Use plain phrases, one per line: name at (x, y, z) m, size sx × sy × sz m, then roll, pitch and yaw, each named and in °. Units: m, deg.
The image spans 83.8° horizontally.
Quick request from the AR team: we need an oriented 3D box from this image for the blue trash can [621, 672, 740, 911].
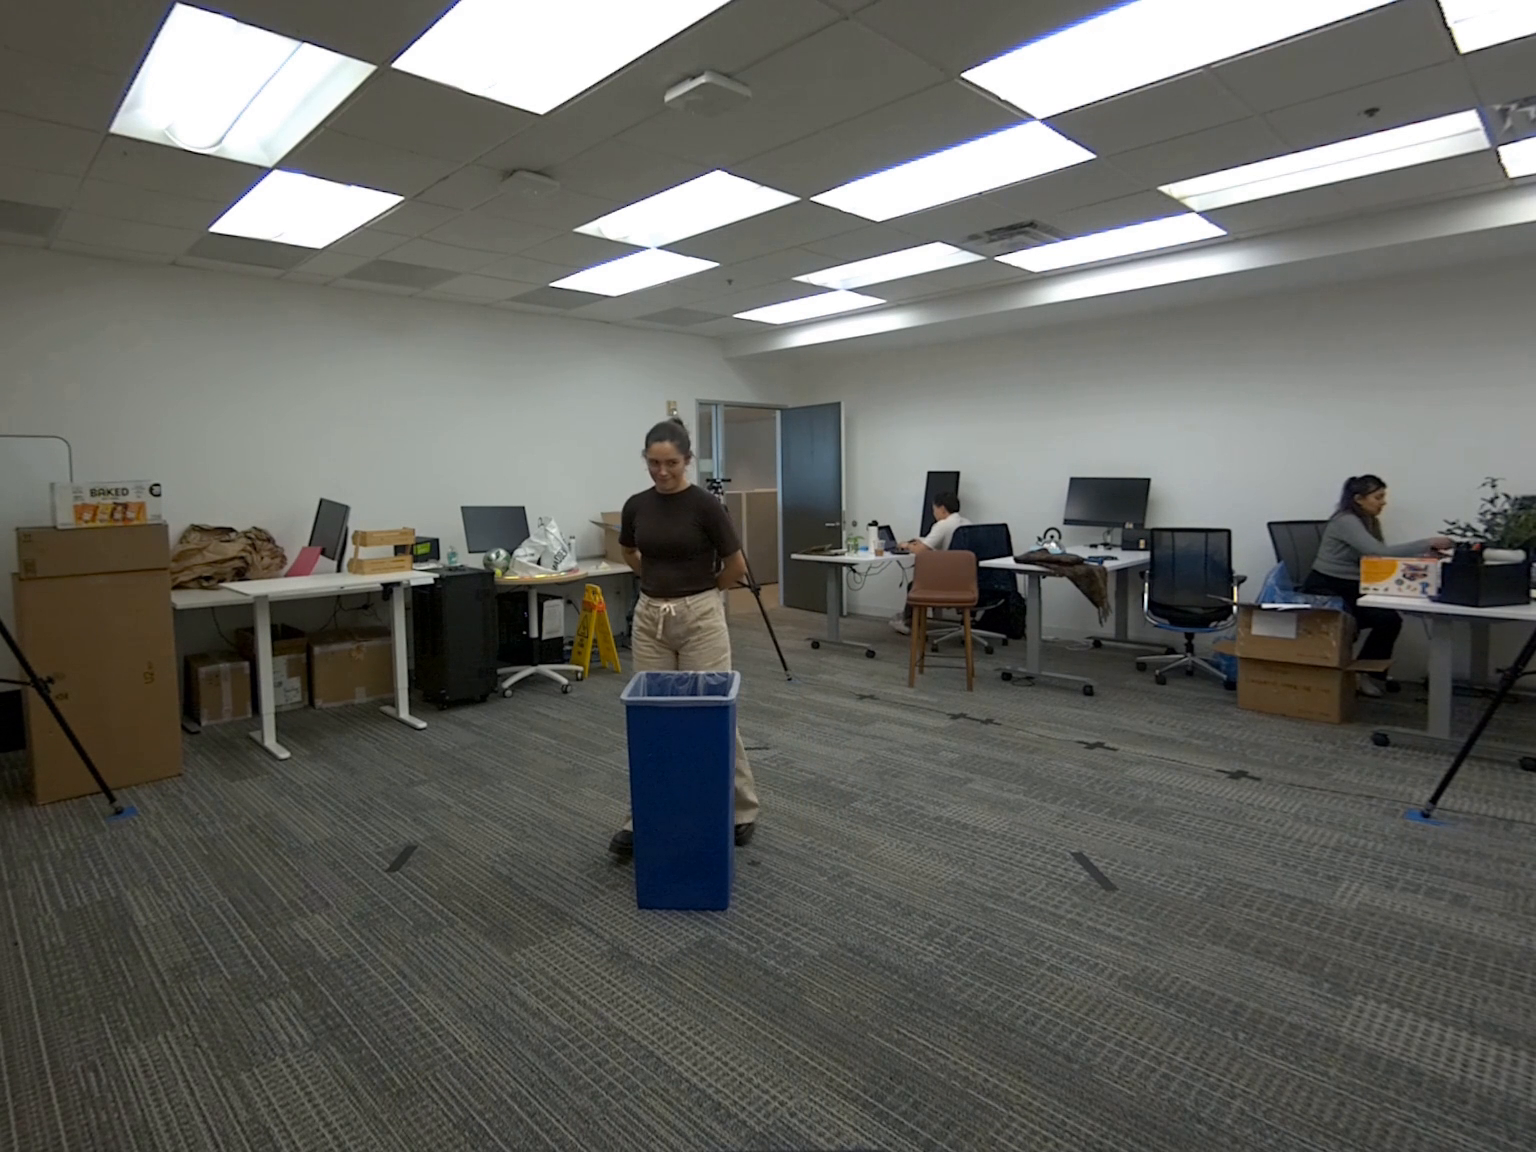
blue trash can at (-0.290, 0.720, 2.896) m, size 0.375 × 0.710 × 0.379 m, roll 0°, pitch 5°, yaw 2°
